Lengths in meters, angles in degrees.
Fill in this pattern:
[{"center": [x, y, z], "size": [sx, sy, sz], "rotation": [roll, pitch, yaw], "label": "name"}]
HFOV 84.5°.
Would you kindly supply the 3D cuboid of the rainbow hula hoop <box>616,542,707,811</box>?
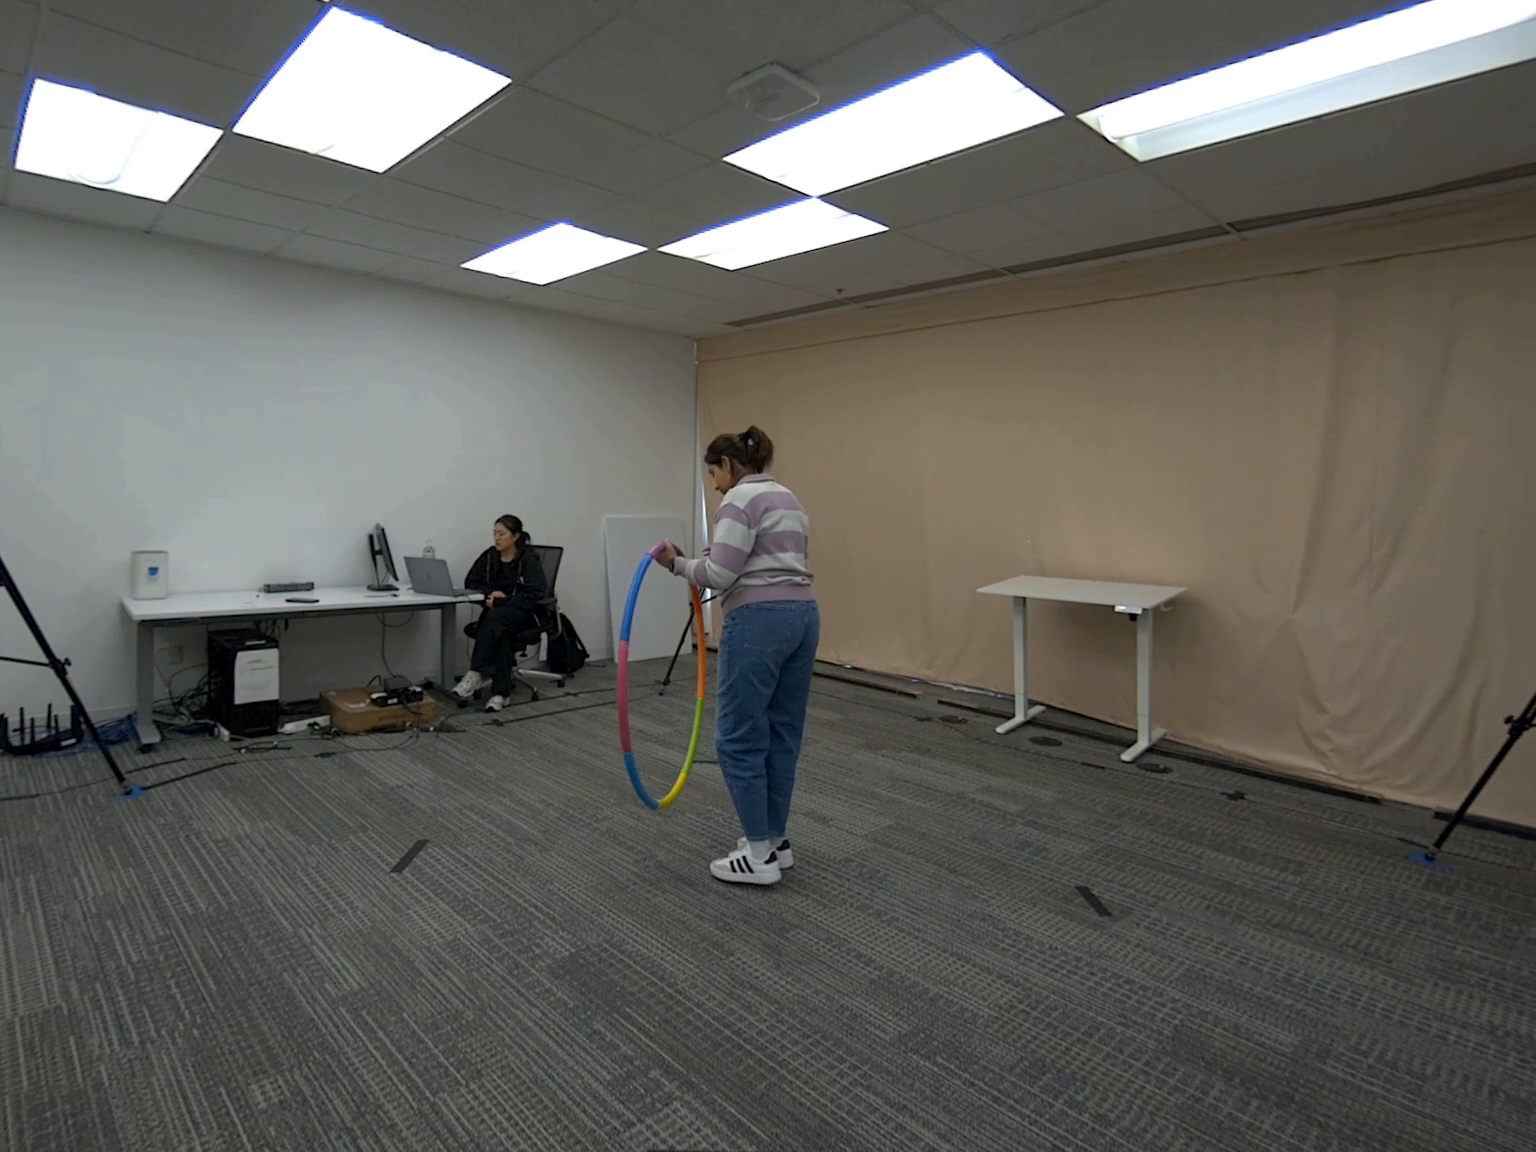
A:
[{"center": [-0.391, 0.372, 3.185], "size": [0.052, 0.983, 0.978], "rotation": [-2, 3, 12], "label": "rainbow hula hoop"}]
